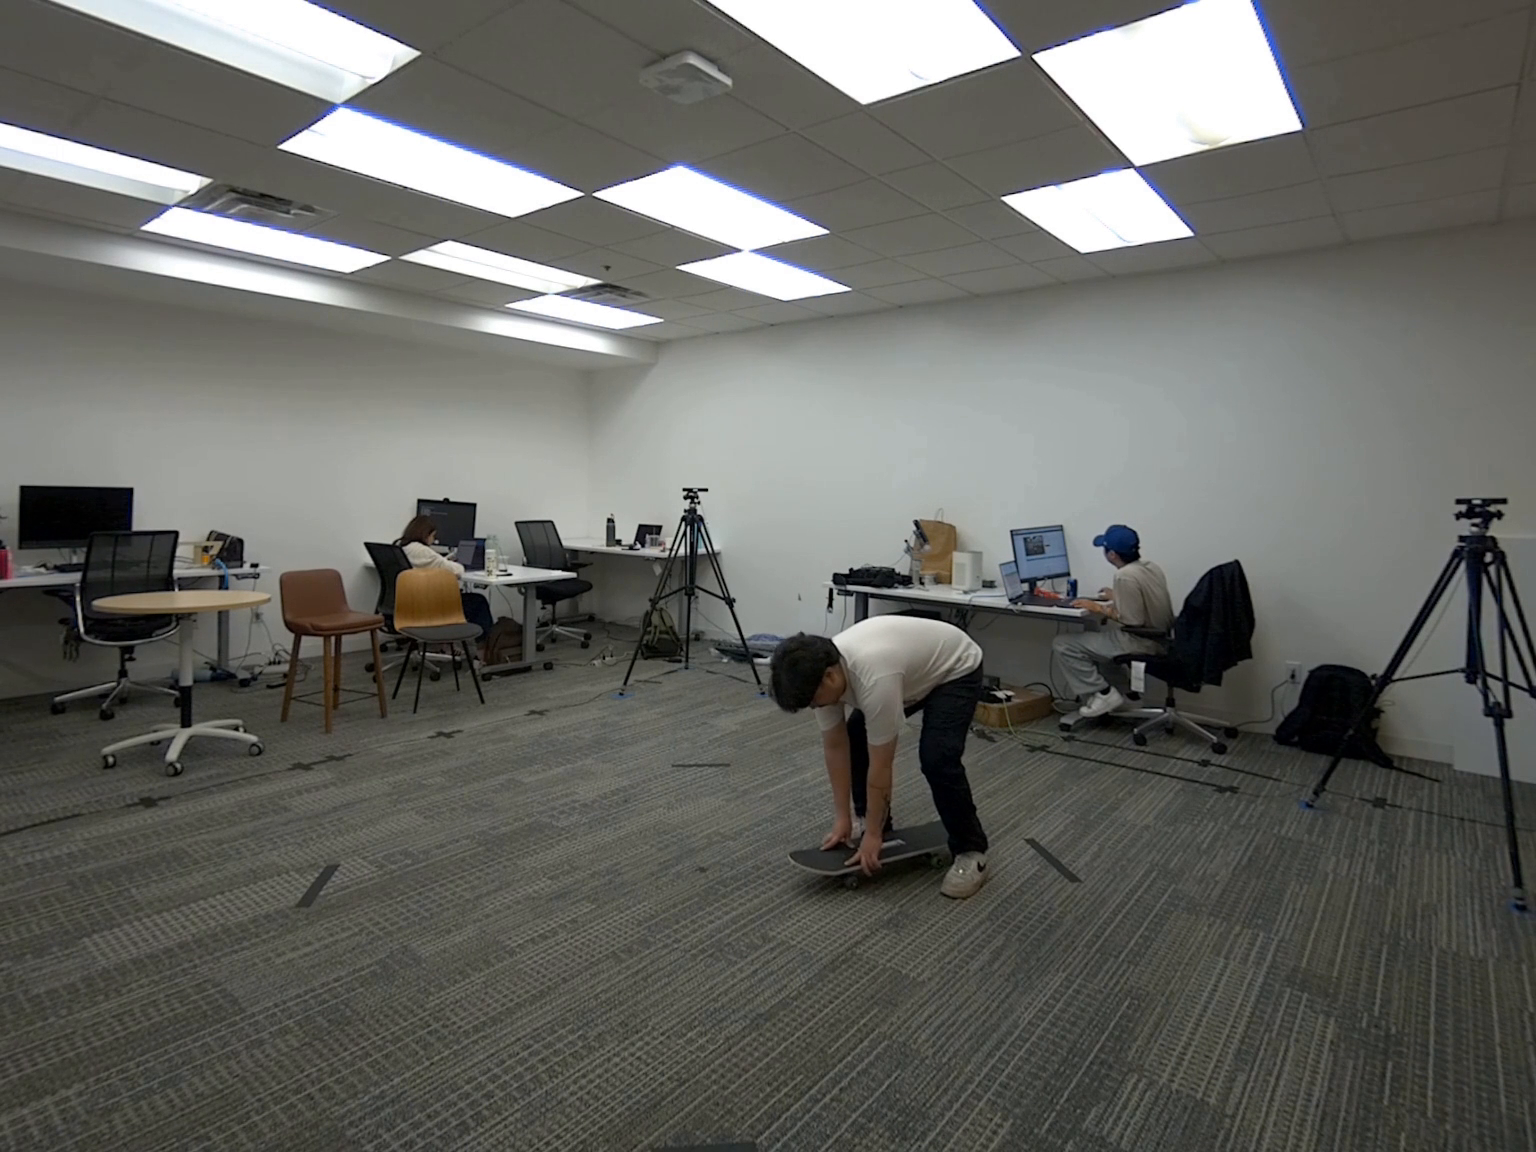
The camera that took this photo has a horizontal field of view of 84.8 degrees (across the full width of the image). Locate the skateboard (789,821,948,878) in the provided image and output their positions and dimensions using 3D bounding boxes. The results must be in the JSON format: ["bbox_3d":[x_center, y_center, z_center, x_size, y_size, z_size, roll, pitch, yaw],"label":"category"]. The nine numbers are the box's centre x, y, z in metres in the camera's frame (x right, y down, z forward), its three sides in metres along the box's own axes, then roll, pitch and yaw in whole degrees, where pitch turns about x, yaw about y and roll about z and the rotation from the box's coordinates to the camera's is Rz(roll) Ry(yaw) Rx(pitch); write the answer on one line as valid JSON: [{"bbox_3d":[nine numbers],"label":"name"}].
[{"bbox_3d":[0.409,1.029,3.143,0.765,0.110,0.199,-1,6,-28],"label":"skateboard"}]
